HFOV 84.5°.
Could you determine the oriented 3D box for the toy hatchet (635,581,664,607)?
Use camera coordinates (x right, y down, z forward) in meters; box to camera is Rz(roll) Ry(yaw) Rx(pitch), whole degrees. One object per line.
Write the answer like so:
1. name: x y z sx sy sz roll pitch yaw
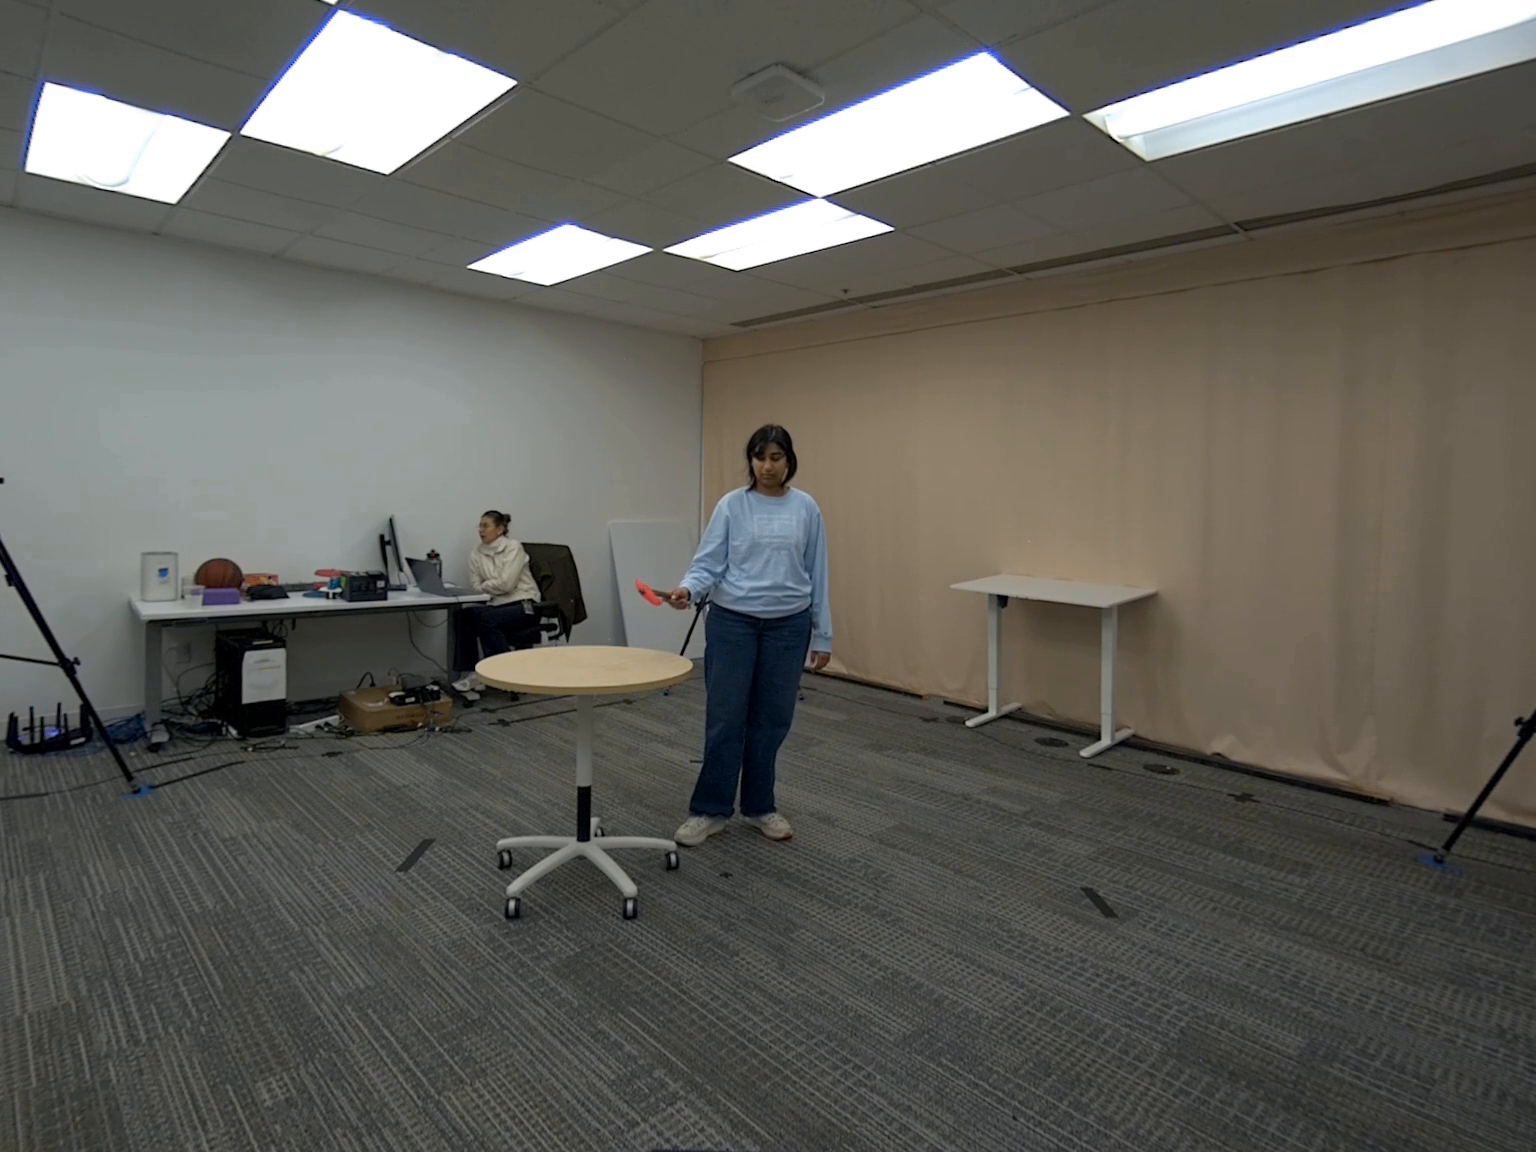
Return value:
1. toy hatchet: -0.374 0.091 3.057 0.262 0.029 0.135 25 18 -44
